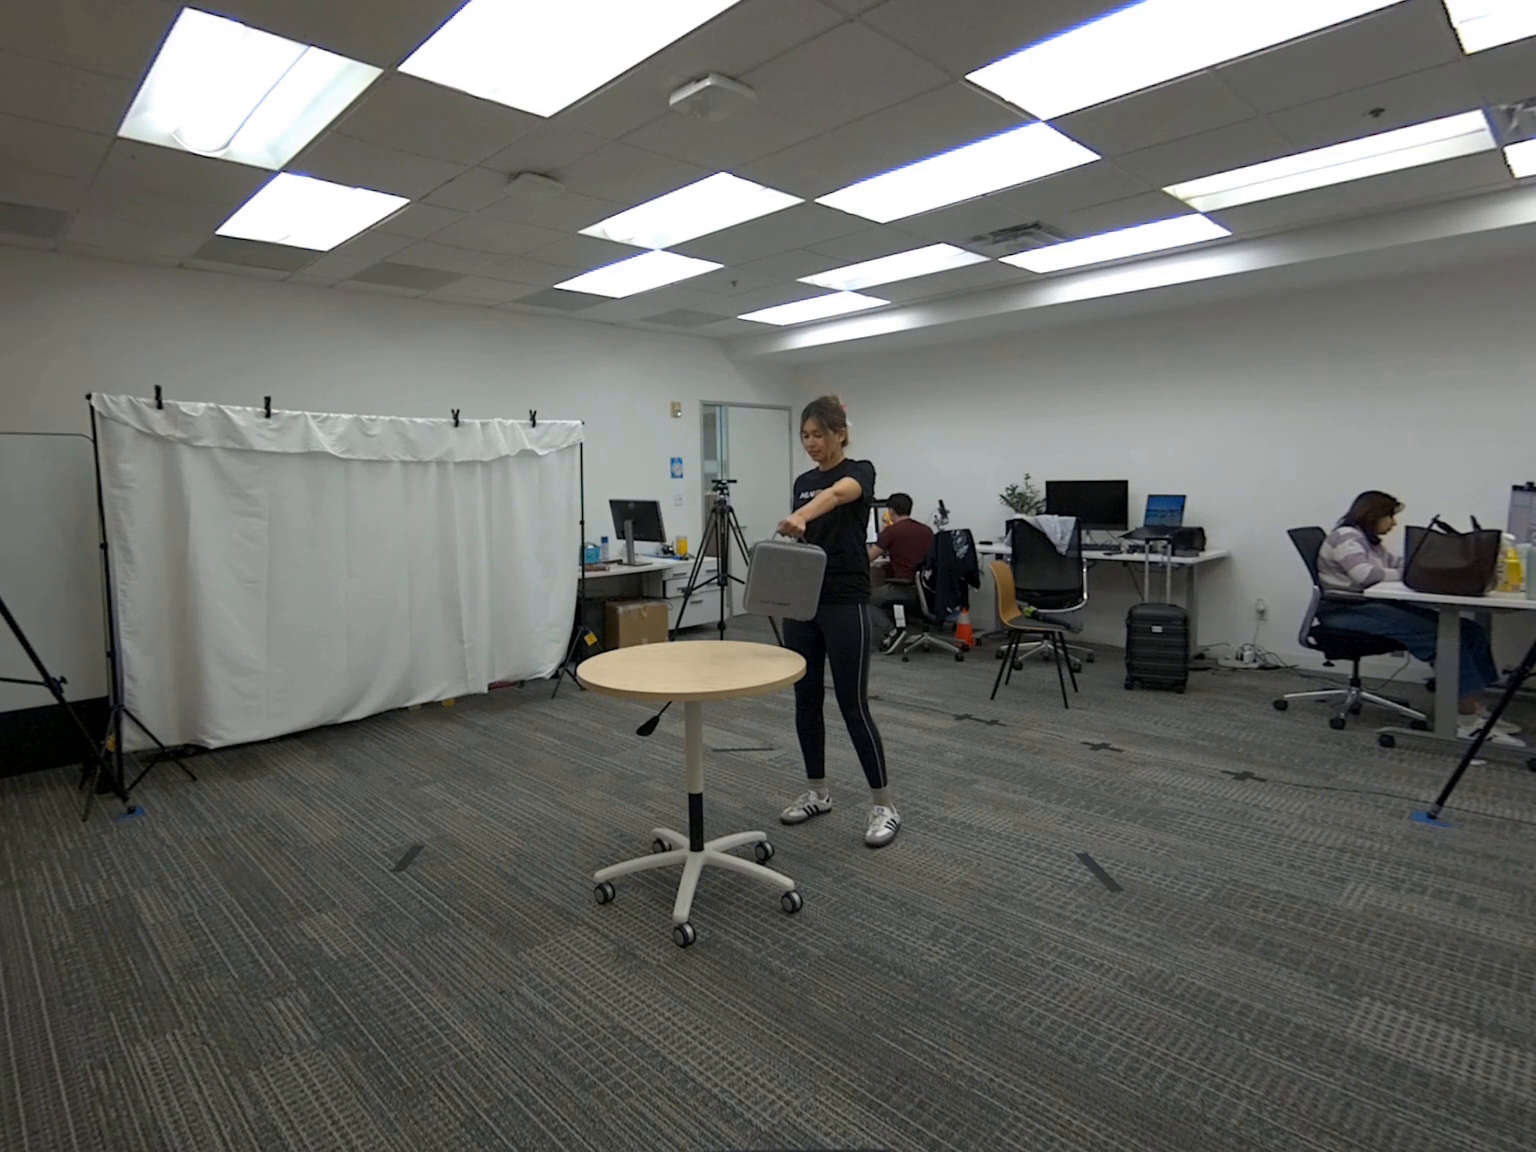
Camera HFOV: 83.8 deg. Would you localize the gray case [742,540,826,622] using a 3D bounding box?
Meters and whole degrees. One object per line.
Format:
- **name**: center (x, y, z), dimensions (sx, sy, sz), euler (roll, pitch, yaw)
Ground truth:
- **gray case**: center (0.057, 0.005, 2.915), dimensions (0.254, 0.259, 0.106), euler (8, 10, -11)
